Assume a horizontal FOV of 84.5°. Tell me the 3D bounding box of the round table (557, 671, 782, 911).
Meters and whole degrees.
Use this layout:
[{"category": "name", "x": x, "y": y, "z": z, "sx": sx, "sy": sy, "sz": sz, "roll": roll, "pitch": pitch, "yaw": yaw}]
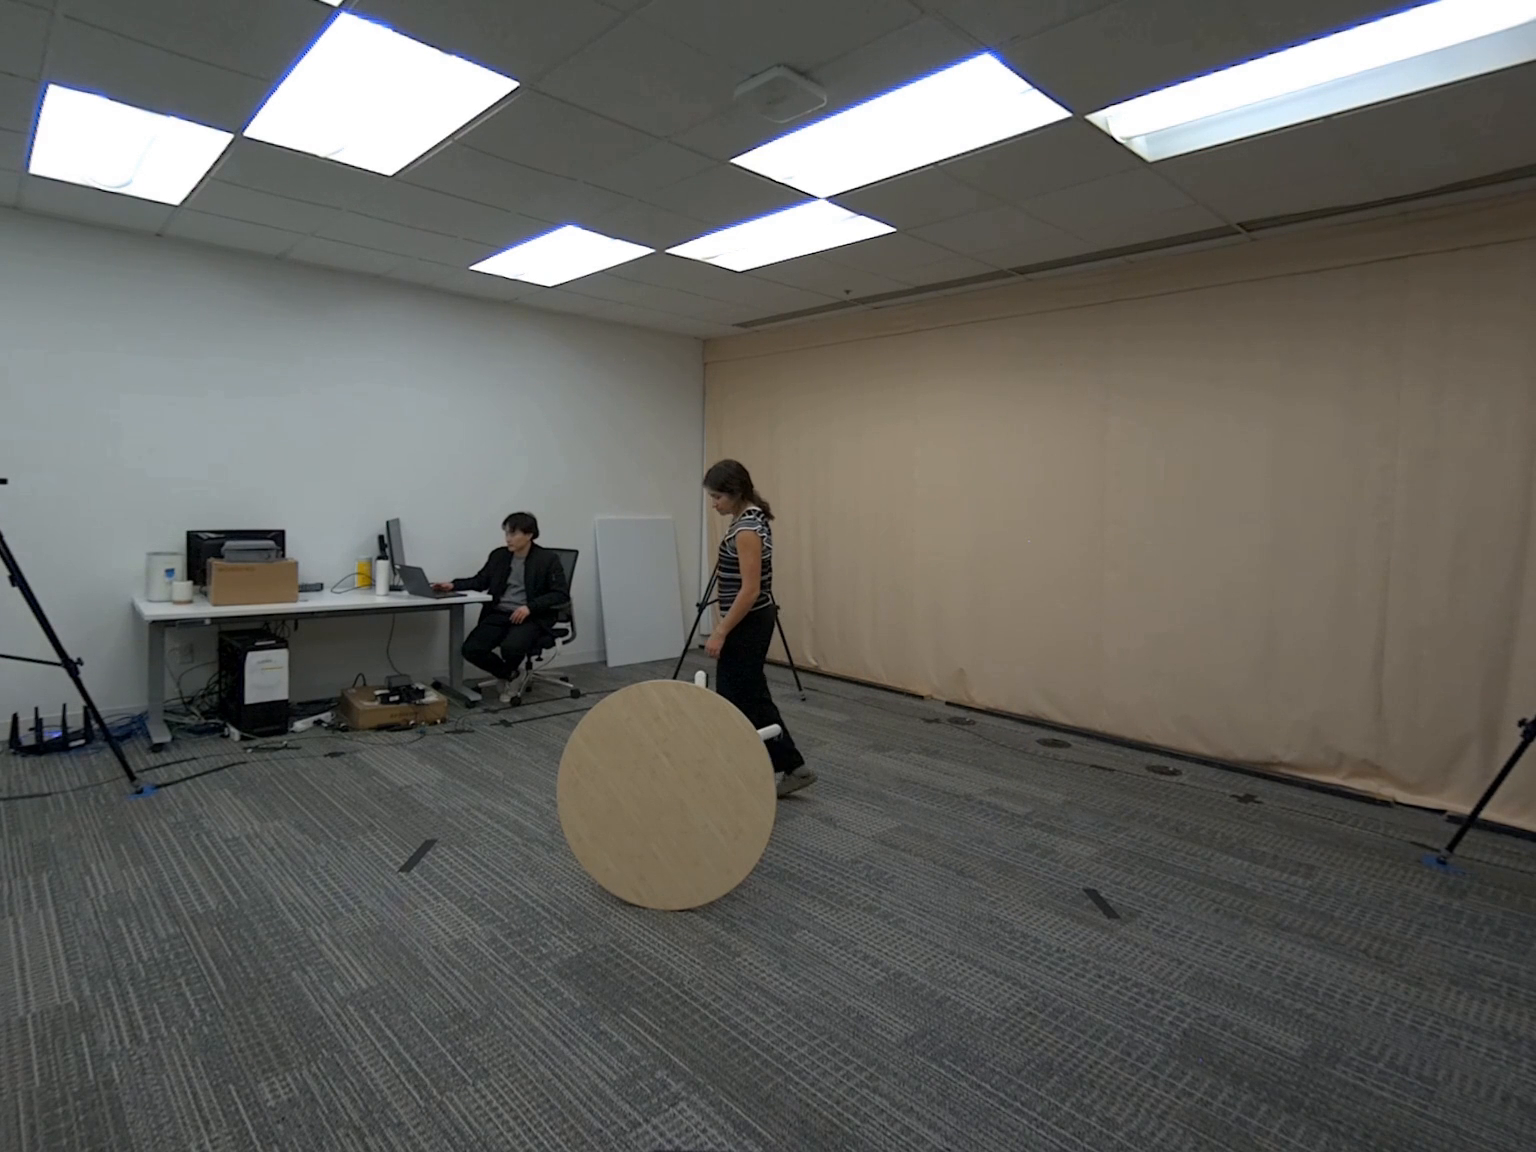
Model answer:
[{"category": "round table", "x": -0.328, "y": 0.753, "z": 3.255, "sx": 0.790, "sy": 0.786, "sz": 0.780, "roll": 2, "pitch": -2, "yaw": 8}]
